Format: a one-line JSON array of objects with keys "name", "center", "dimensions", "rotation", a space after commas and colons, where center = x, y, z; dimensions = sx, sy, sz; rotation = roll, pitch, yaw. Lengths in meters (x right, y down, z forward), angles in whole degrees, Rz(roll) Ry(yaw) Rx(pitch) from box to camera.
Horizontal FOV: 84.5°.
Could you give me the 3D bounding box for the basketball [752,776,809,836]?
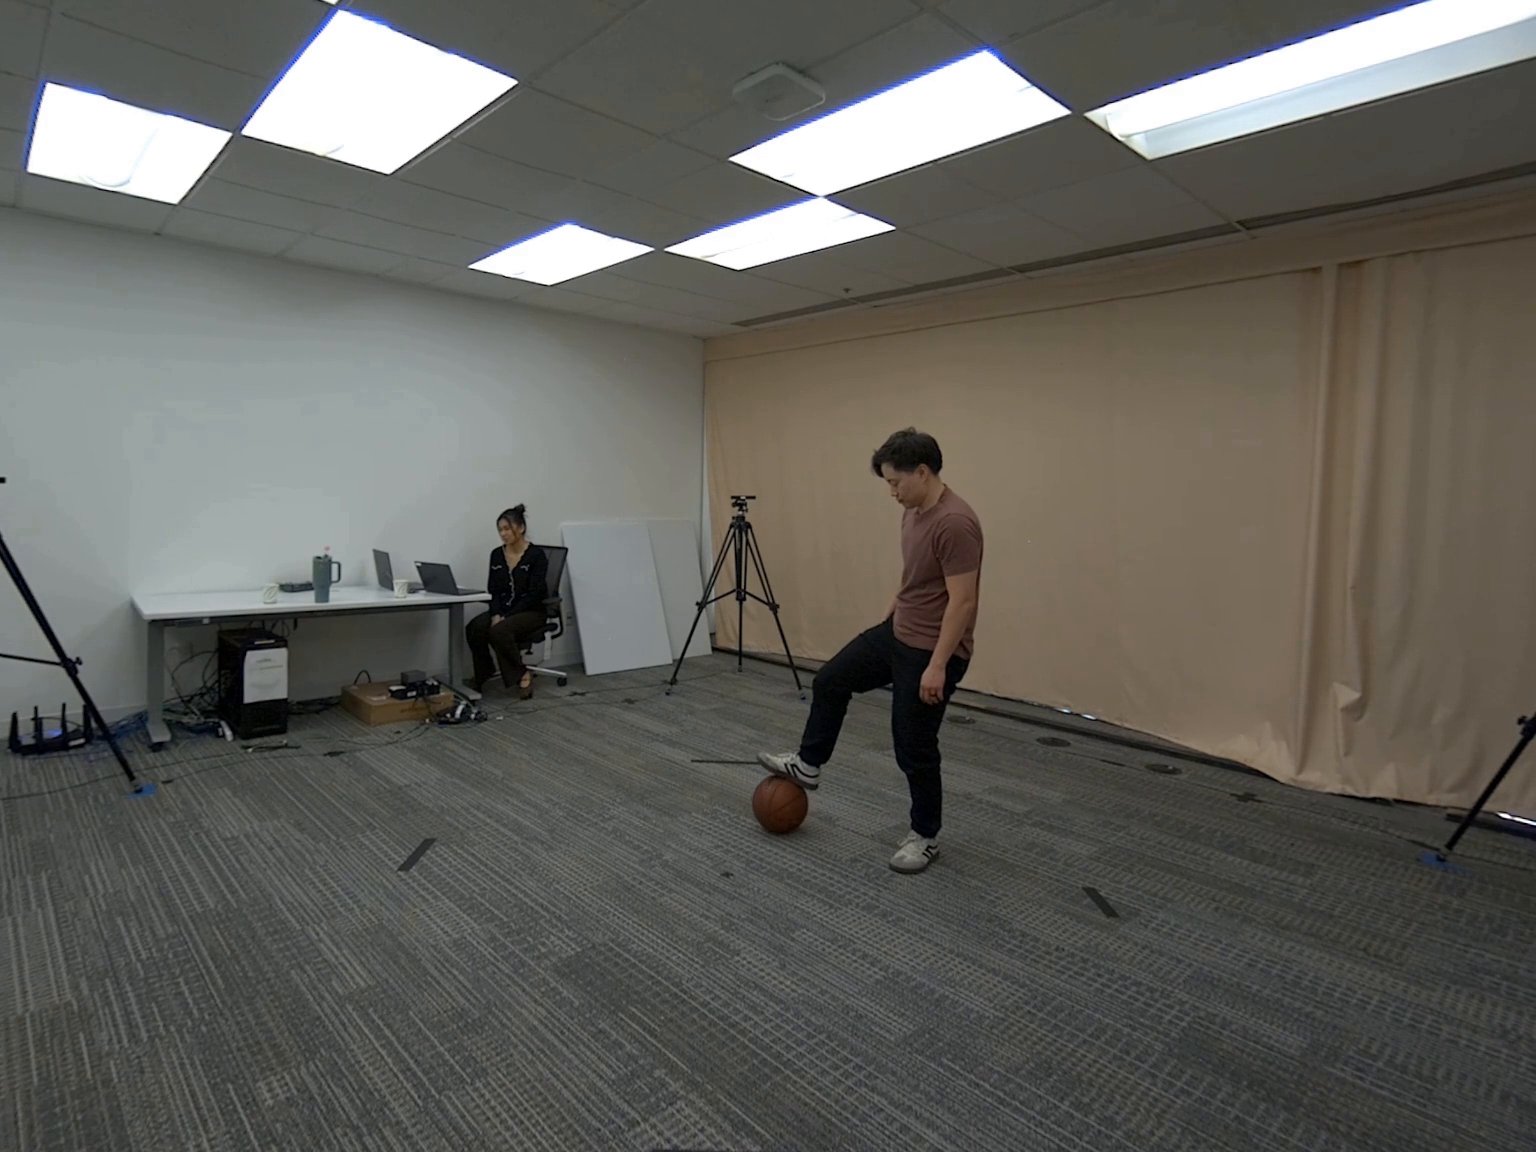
[{"name": "basketball", "center": [0.046, 0.951, 3.527], "dimensions": [0.236, 0.235, 0.237], "rotation": [1, 4, -1]}]
